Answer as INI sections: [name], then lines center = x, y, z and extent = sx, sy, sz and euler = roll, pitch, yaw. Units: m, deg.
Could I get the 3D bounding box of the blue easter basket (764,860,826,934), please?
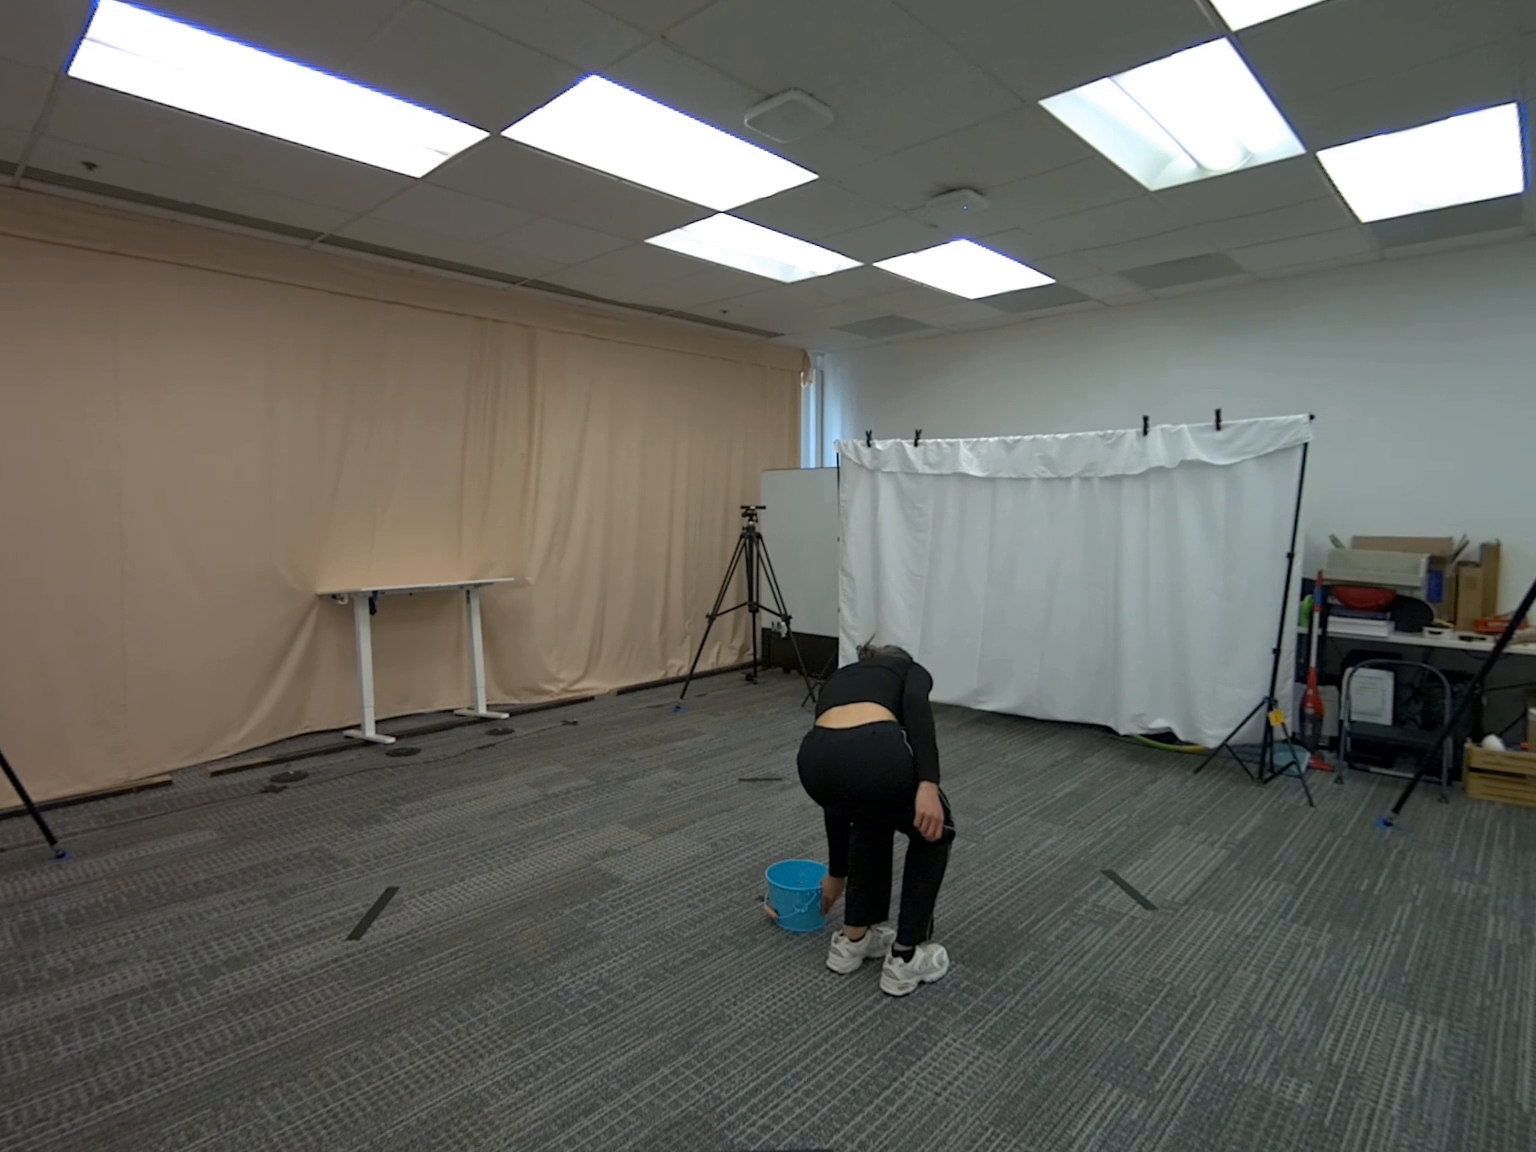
[blue easter basket]
center = 0.109, 1.078, 2.839
extent = 0.243, 0.155, 0.244
euler = 1, 5, -2
